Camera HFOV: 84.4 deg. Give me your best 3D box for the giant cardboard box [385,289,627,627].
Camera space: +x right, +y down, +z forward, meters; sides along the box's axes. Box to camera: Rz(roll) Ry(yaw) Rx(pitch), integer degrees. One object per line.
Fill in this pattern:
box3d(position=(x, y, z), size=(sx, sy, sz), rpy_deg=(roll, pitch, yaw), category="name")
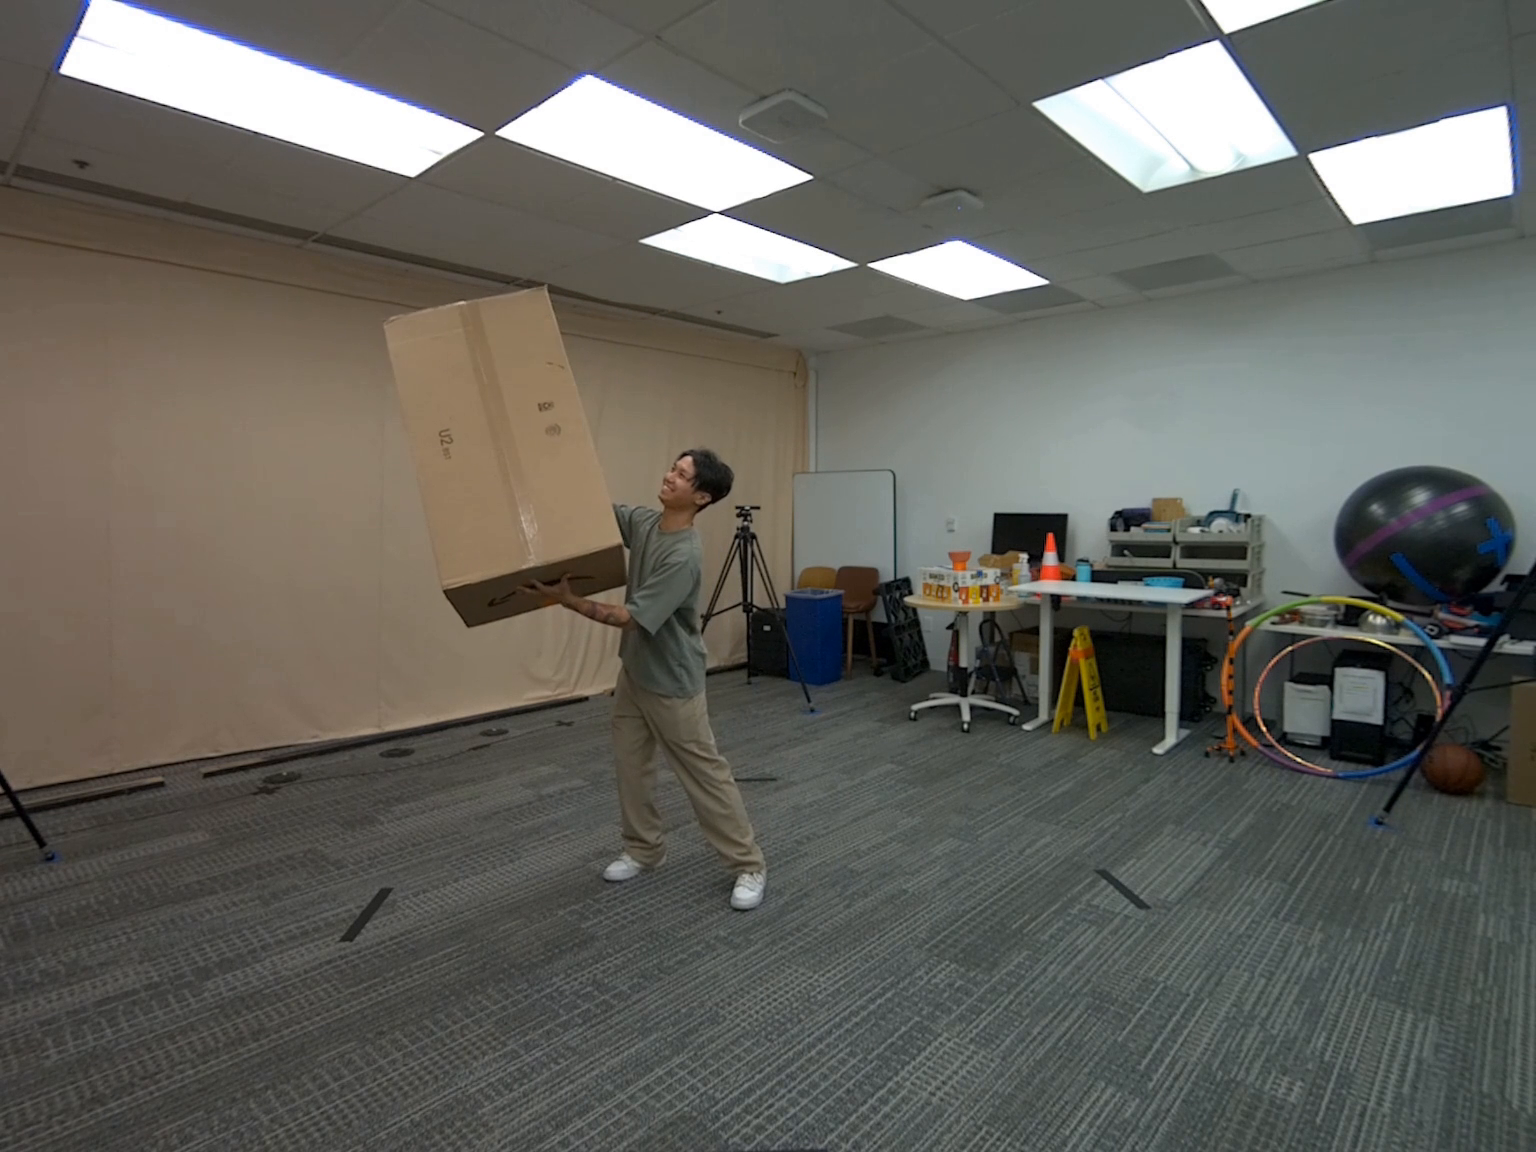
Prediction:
box3d(position=(-0.912, -0.420, 2.961), size=(0.573, 1.043, 0.422), rpy_deg=(-17, -18, -10), category="giant cardboard box")
